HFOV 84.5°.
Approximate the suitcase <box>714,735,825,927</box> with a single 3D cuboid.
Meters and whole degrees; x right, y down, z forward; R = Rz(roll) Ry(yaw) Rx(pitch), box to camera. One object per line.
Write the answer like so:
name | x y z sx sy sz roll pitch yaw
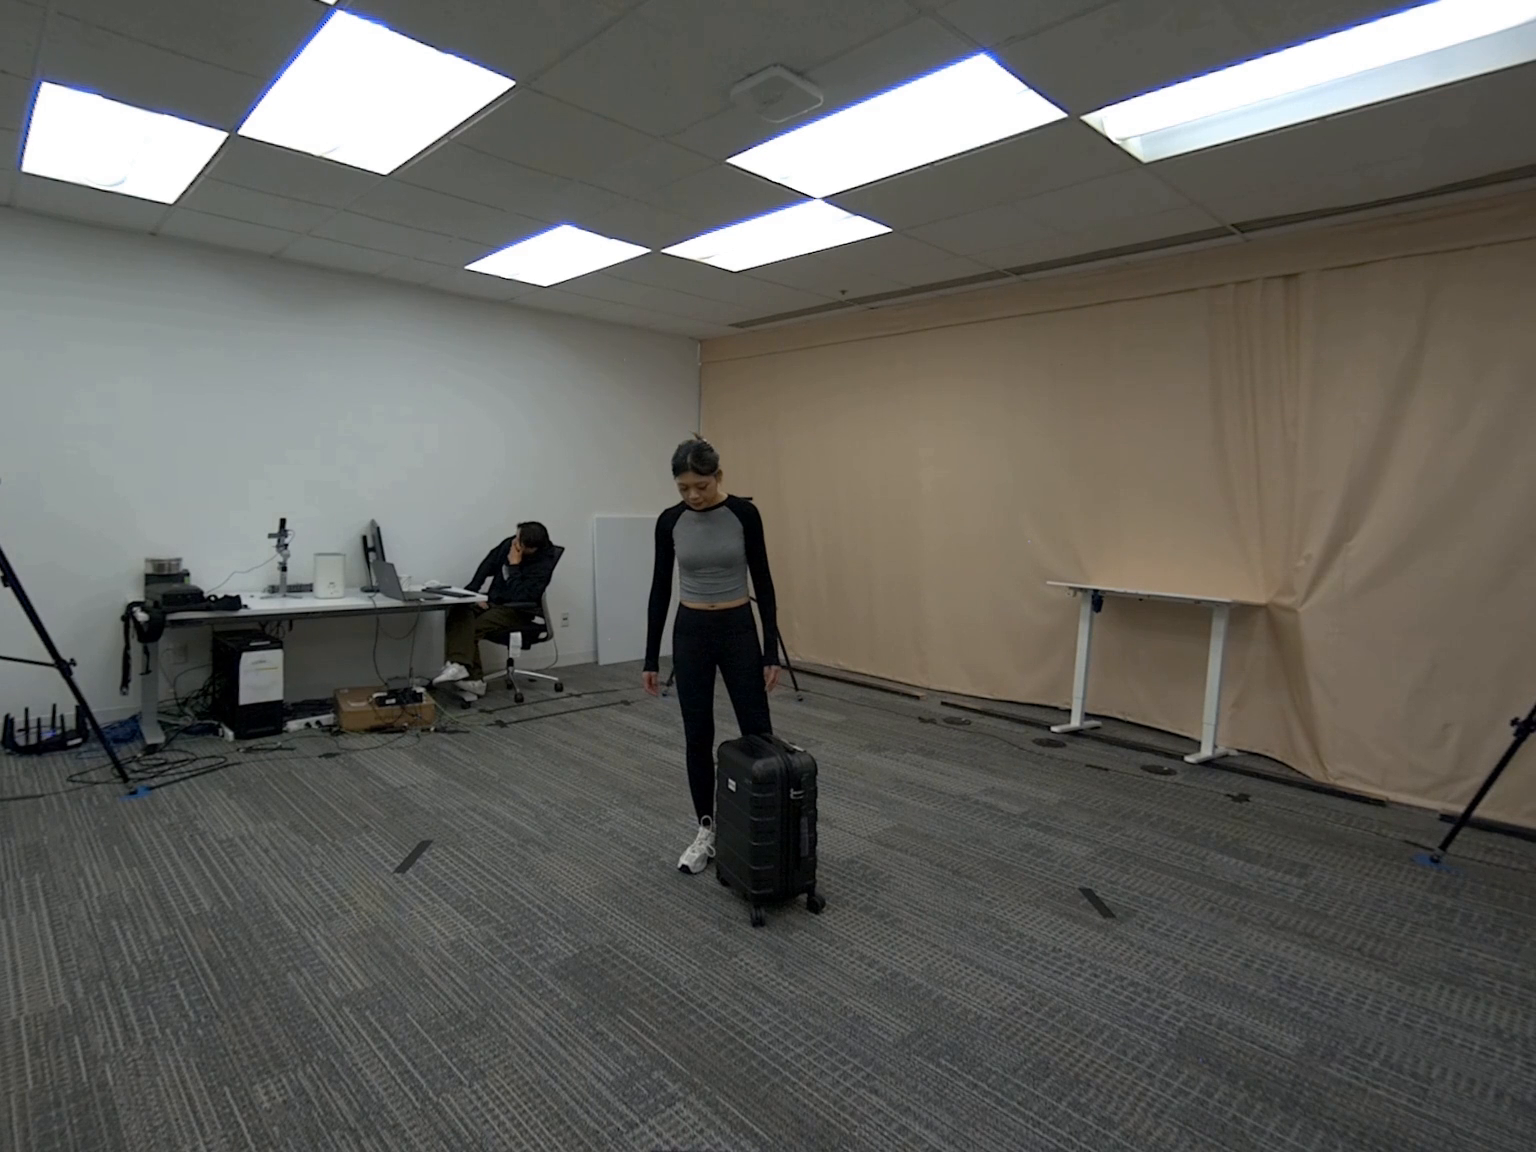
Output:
suitcase | -0.016 0.848 2.928 0.244 0.548 0.383 -1 4 -27
